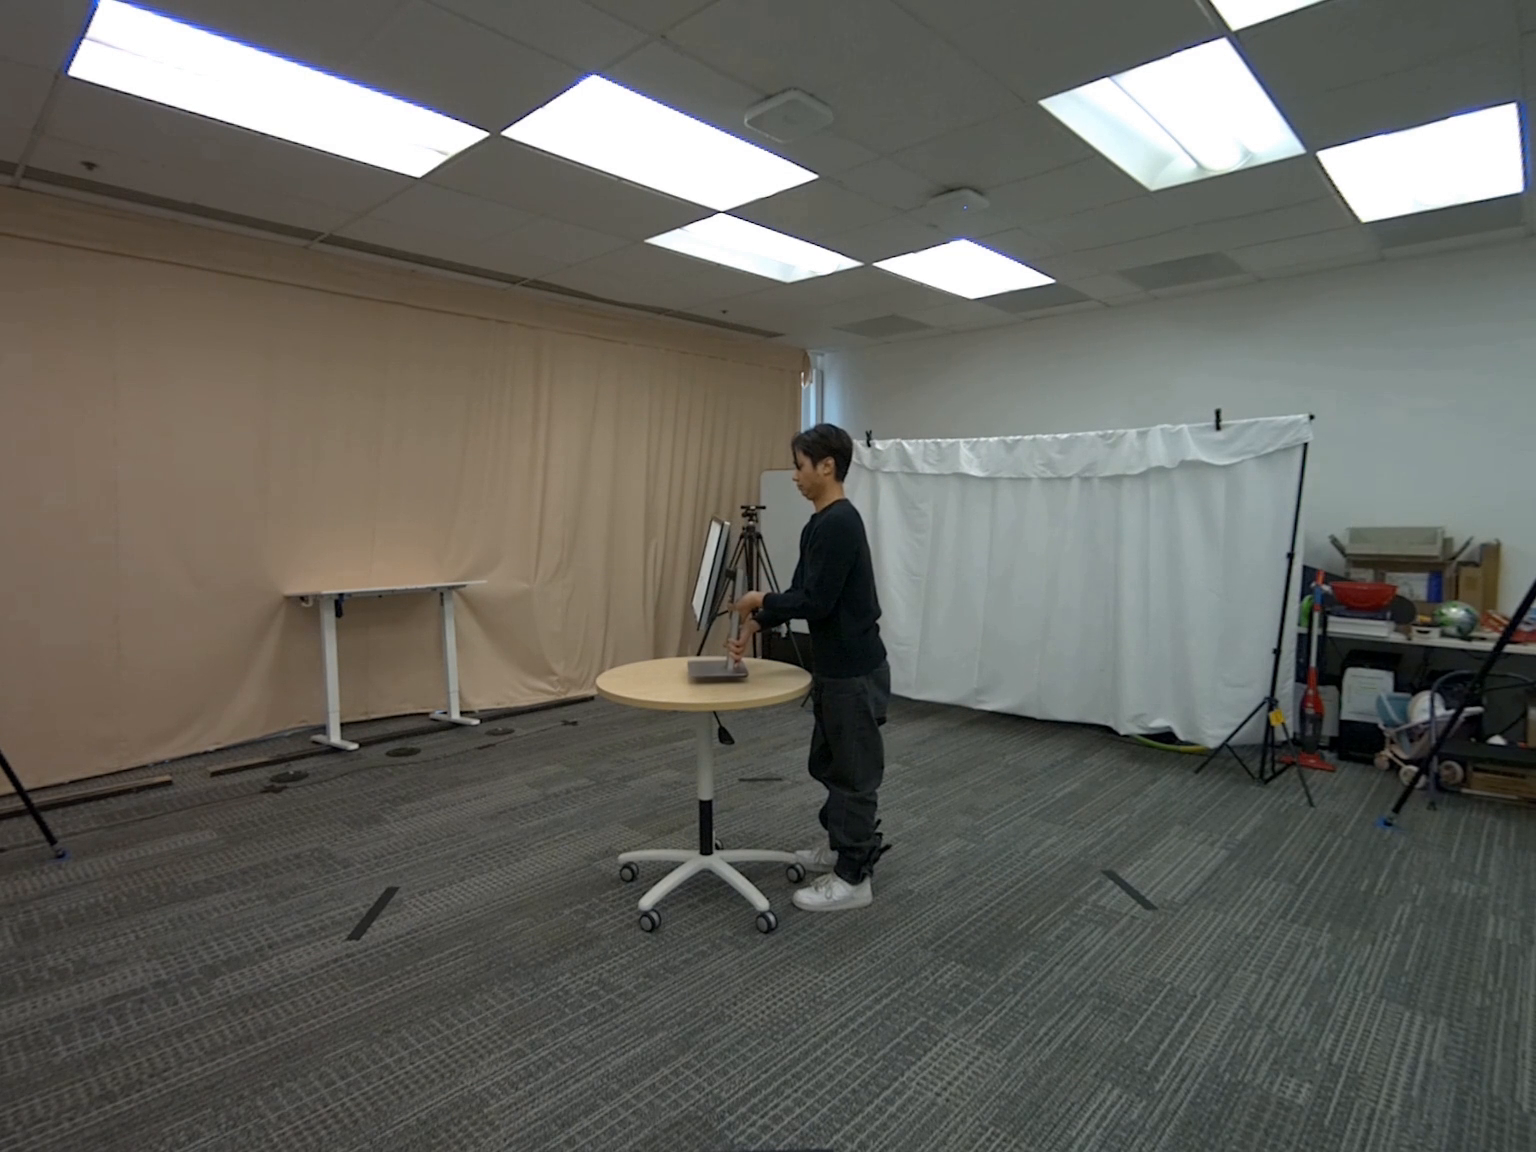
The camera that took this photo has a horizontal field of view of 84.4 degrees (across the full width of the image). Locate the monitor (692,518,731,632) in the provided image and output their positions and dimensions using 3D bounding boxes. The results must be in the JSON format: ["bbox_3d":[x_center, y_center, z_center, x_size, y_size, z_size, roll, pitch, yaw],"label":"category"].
[{"bbox_3d":[-0.167,0.081,2.980,0.186,0.521,0.544,1,4,-8],"label":"monitor"}]
